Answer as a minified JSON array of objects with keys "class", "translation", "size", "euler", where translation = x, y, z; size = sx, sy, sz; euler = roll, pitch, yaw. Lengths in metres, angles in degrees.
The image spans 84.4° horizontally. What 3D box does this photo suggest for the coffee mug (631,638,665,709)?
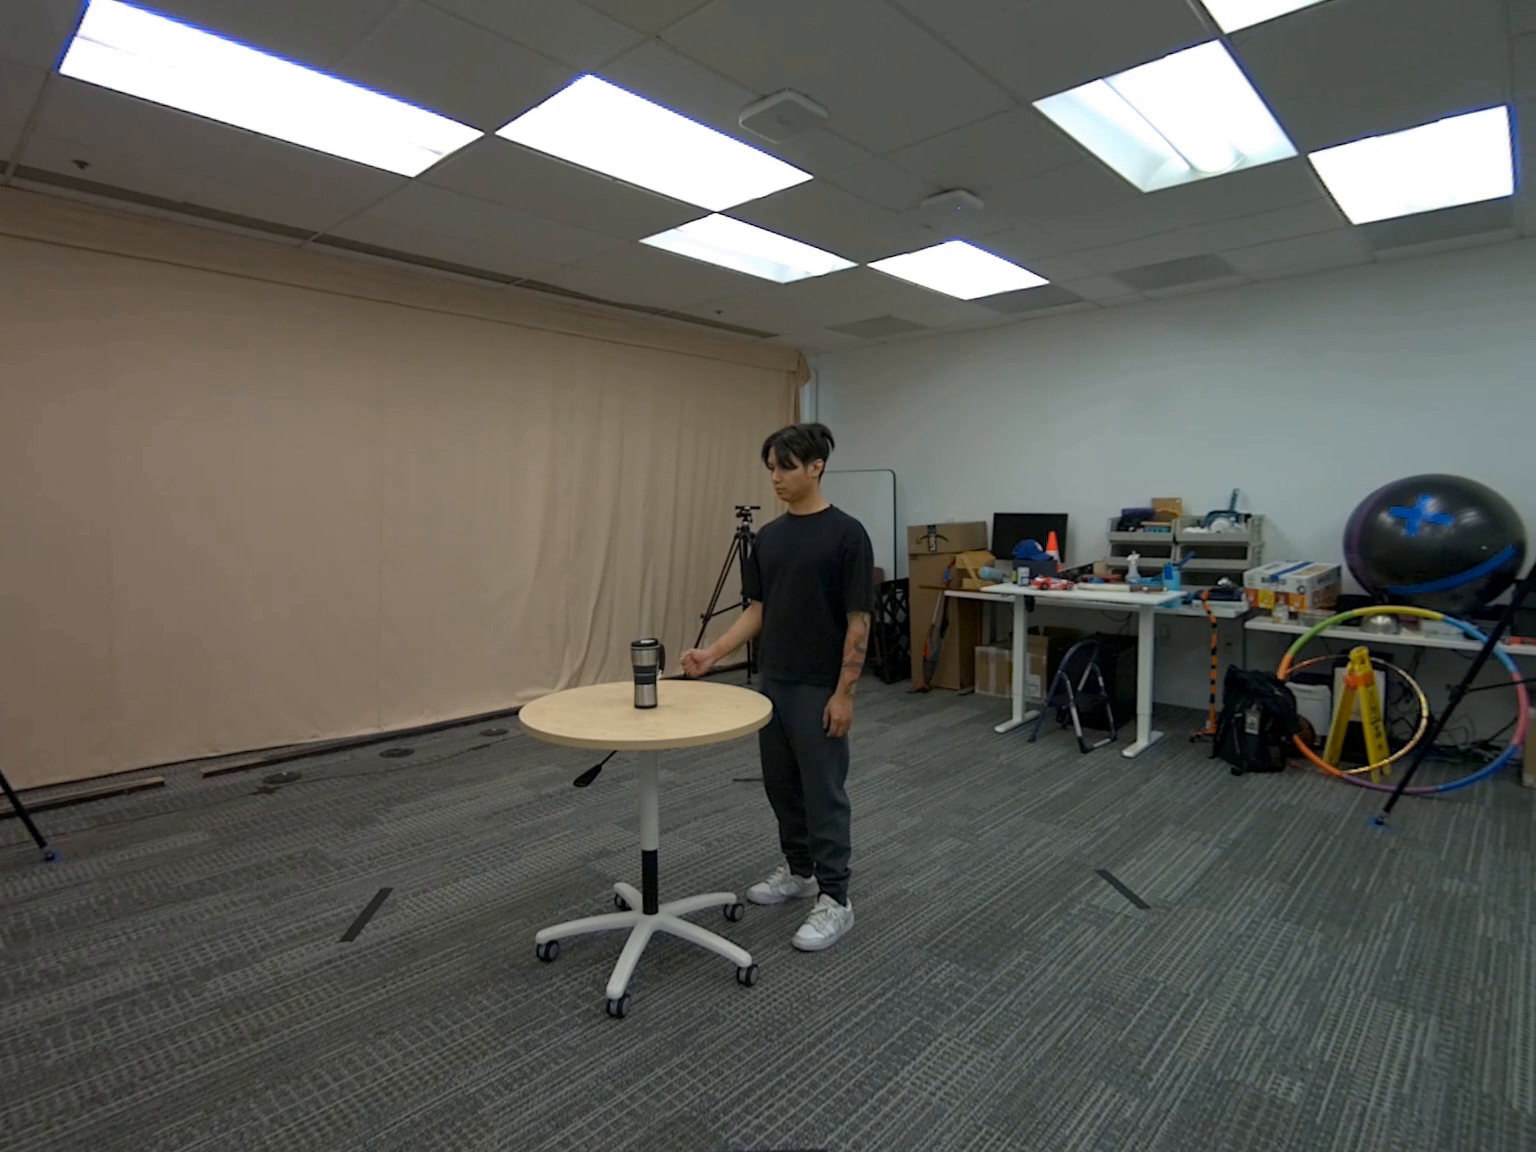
[{"class":"coffee mug","translation":[-0.353,0.298,2.569],"size":[0.119,0.203,0.090],"euler":[-5,0,-31]}]
